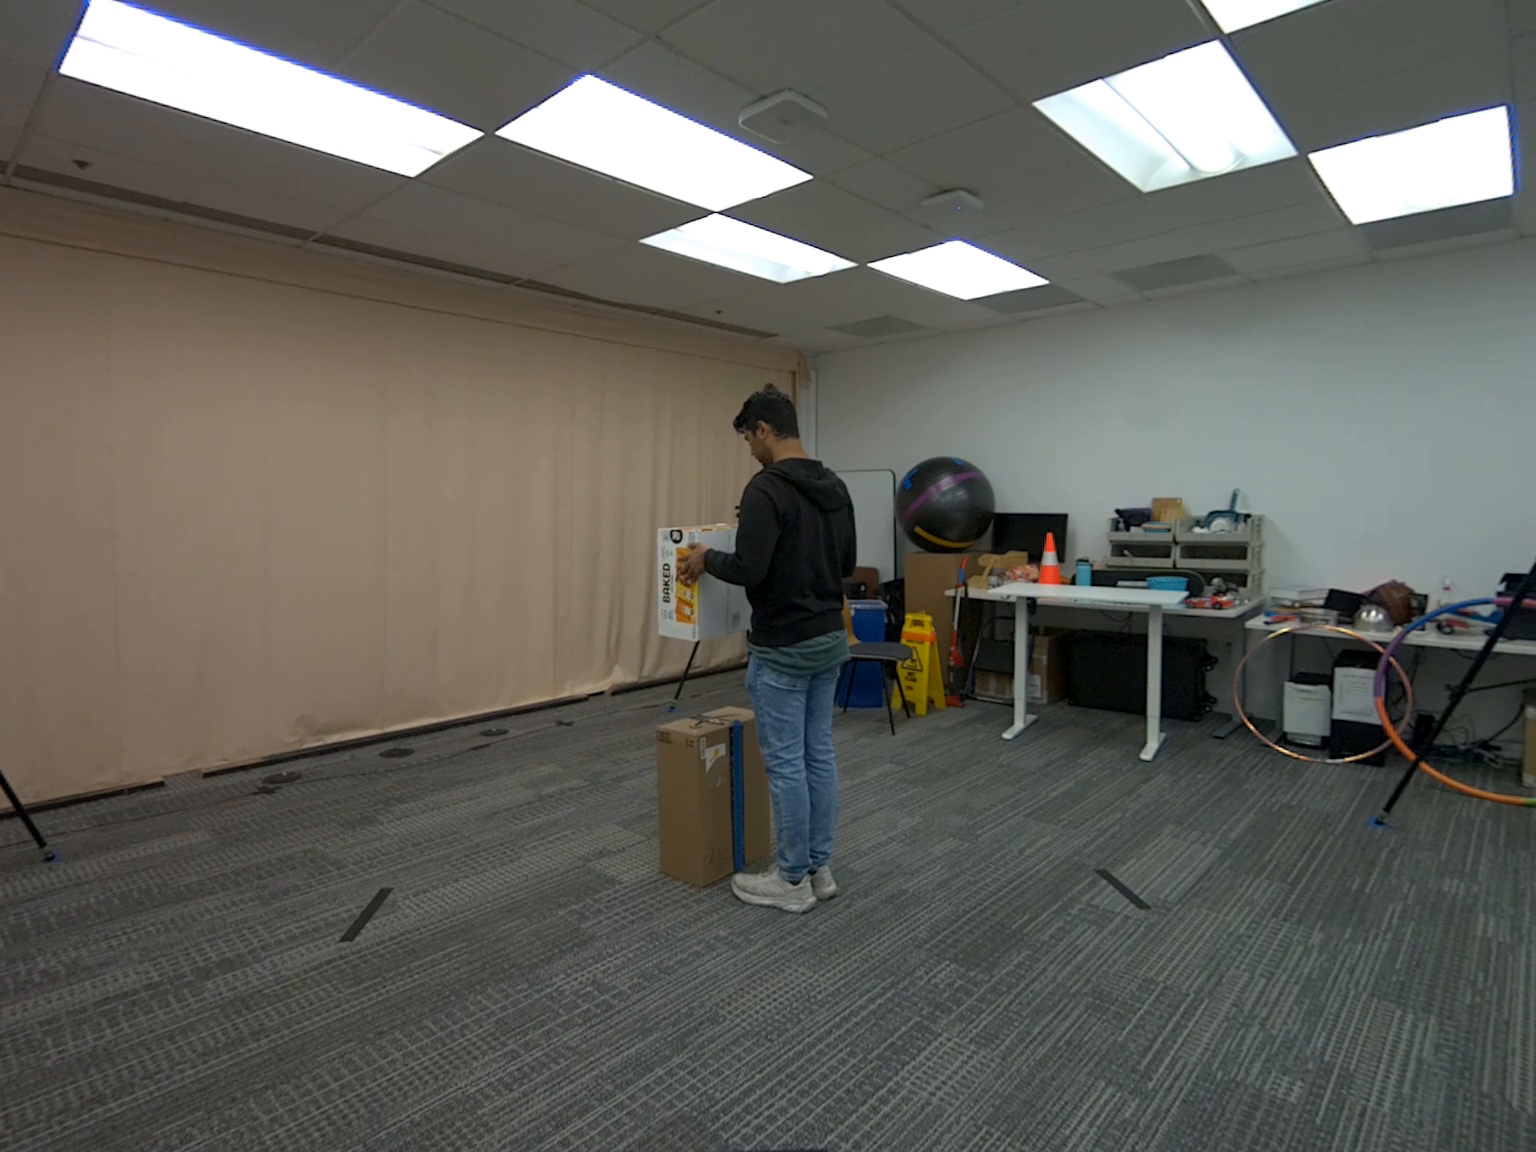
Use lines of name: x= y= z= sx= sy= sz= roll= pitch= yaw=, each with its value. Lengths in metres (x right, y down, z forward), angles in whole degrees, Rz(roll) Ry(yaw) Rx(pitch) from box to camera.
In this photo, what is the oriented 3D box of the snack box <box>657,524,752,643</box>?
snack box: x=-0.225 y=0.016 z=3.219 sx=0.212 sy=0.404 sz=0.330 roll=5 pitch=8 yaw=40
